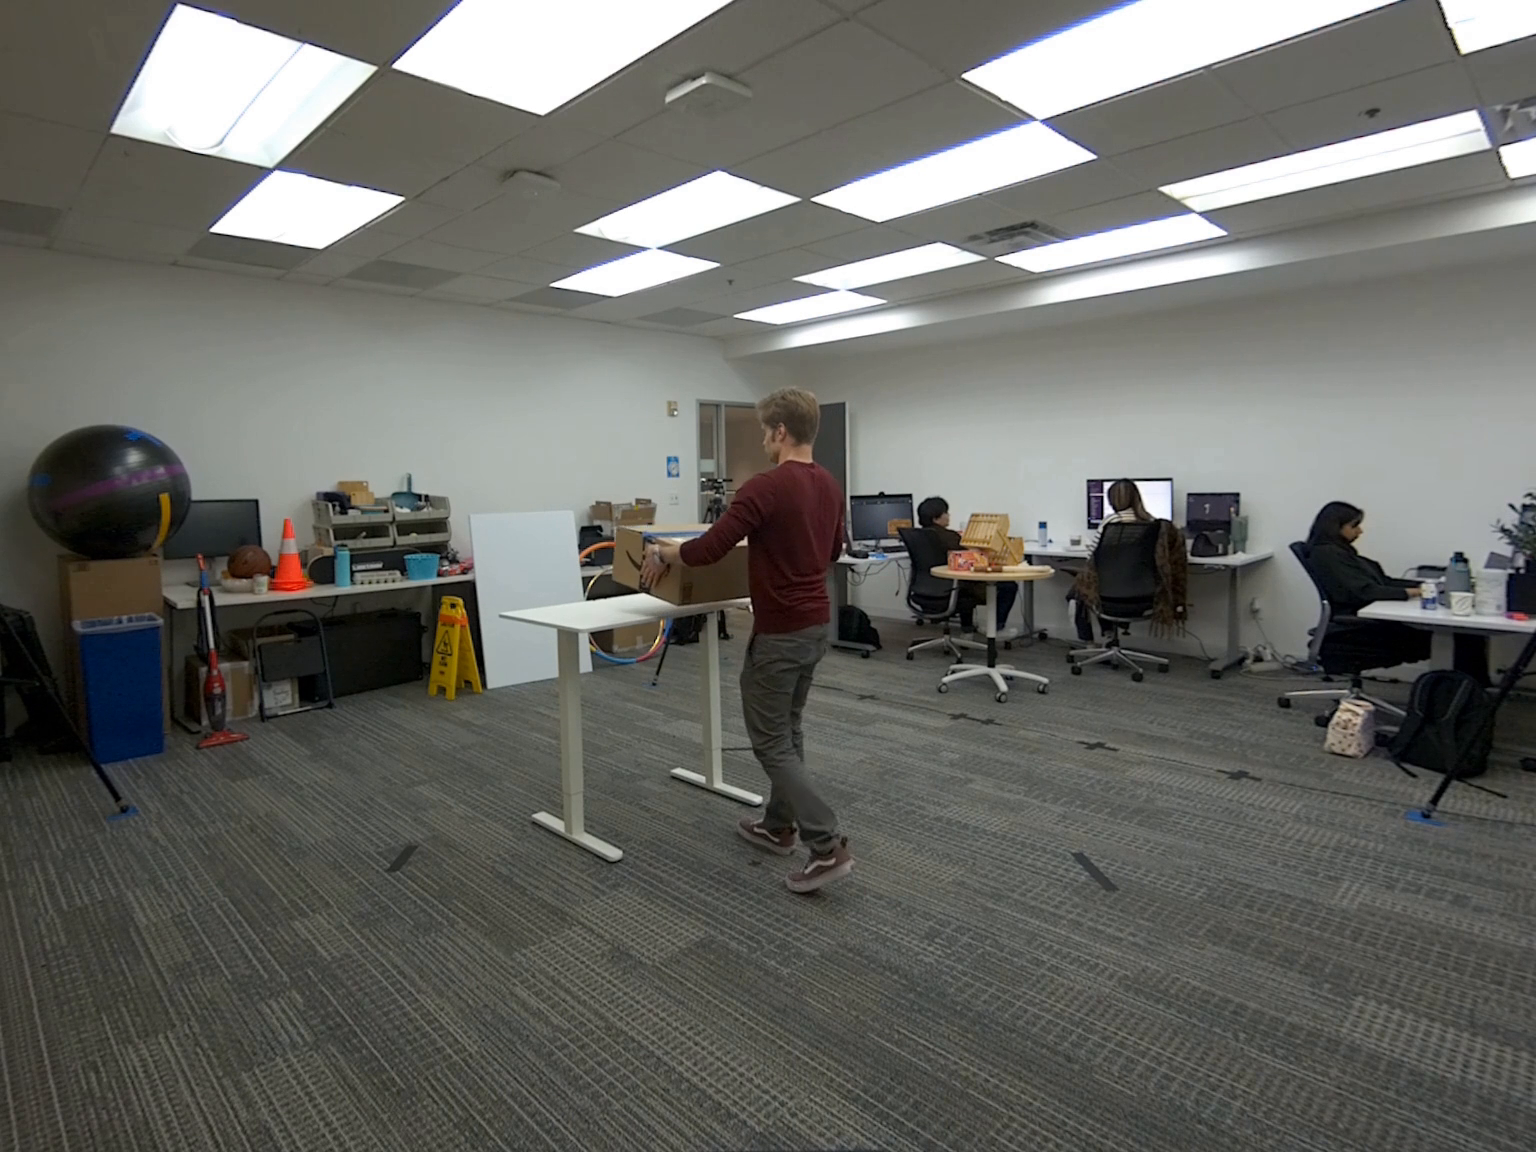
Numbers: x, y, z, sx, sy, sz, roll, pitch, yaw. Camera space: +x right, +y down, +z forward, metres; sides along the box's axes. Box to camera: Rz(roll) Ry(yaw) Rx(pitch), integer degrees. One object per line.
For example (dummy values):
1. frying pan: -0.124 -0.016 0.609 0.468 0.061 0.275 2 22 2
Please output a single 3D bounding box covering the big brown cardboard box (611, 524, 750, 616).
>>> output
1. big brown cardboard box: -0.259 -0.060 3.358 0.573 0.231 0.432 -4 15 -44
